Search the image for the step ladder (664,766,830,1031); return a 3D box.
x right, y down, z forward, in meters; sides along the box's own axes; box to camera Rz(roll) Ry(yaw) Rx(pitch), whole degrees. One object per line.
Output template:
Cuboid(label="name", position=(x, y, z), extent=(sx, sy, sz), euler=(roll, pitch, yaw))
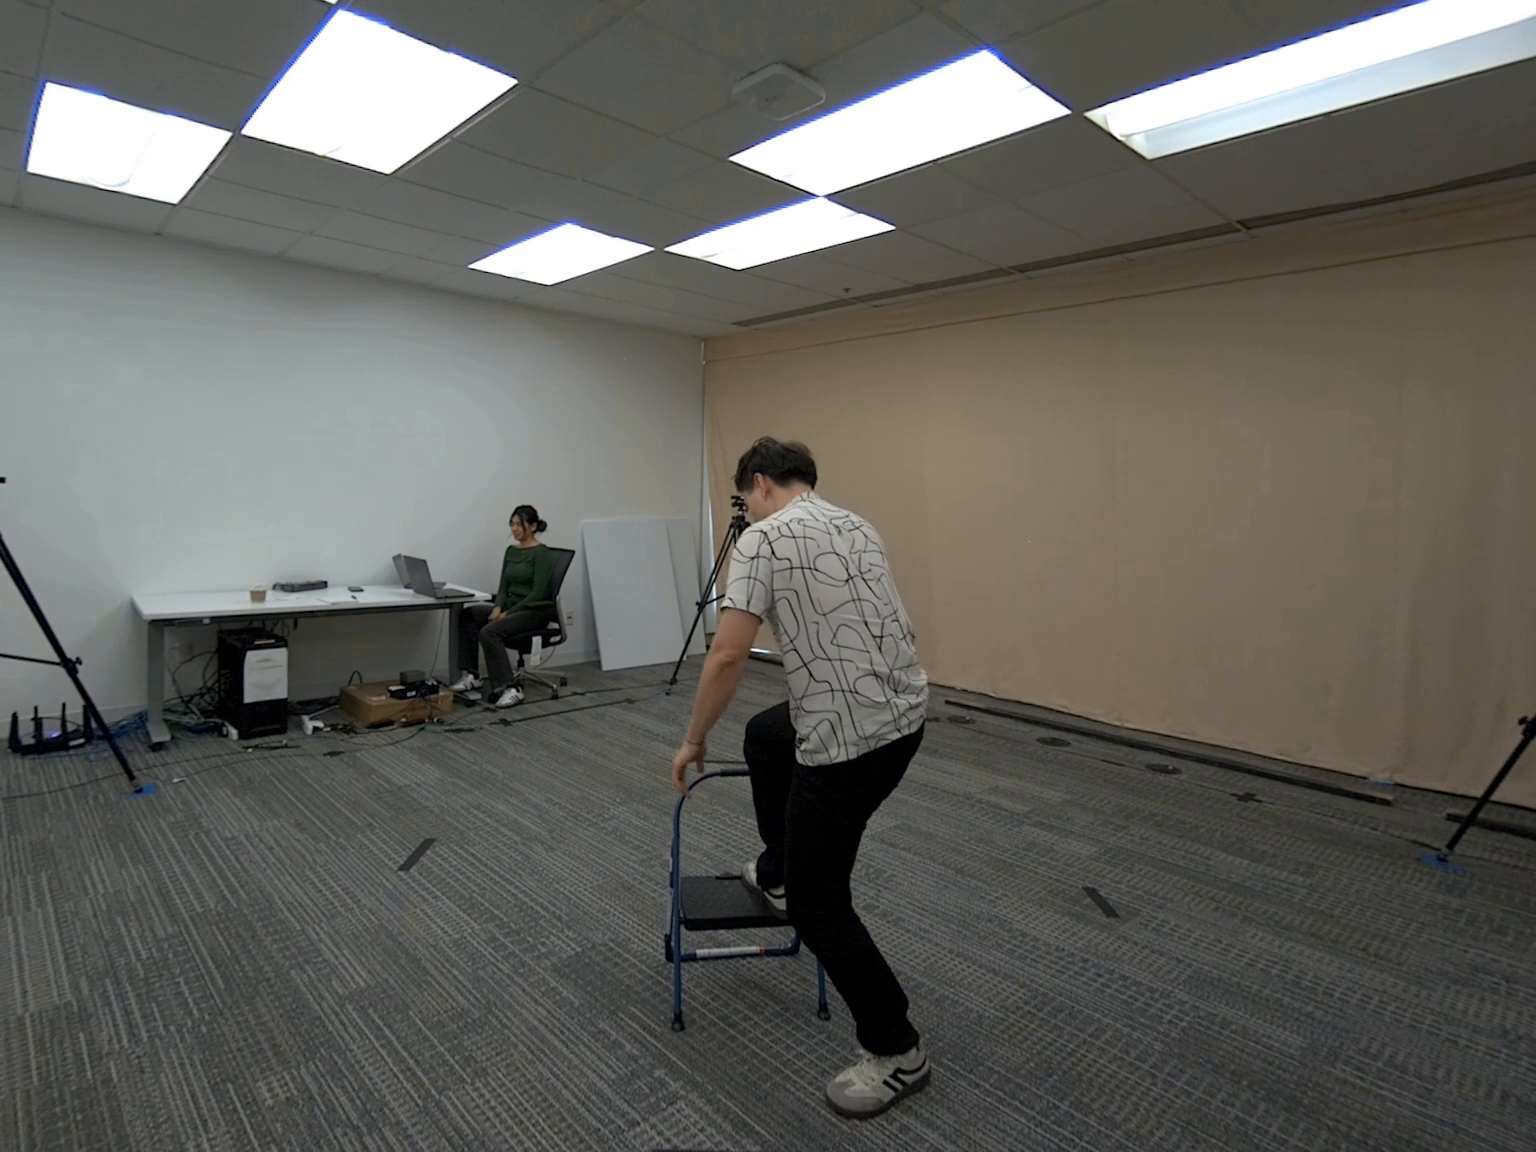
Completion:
Cuboid(label="step ladder", position=(-0.073, 0.874, 2.373), extent=(0.427, 0.604, 0.353), euler=(0, 4, -11))
